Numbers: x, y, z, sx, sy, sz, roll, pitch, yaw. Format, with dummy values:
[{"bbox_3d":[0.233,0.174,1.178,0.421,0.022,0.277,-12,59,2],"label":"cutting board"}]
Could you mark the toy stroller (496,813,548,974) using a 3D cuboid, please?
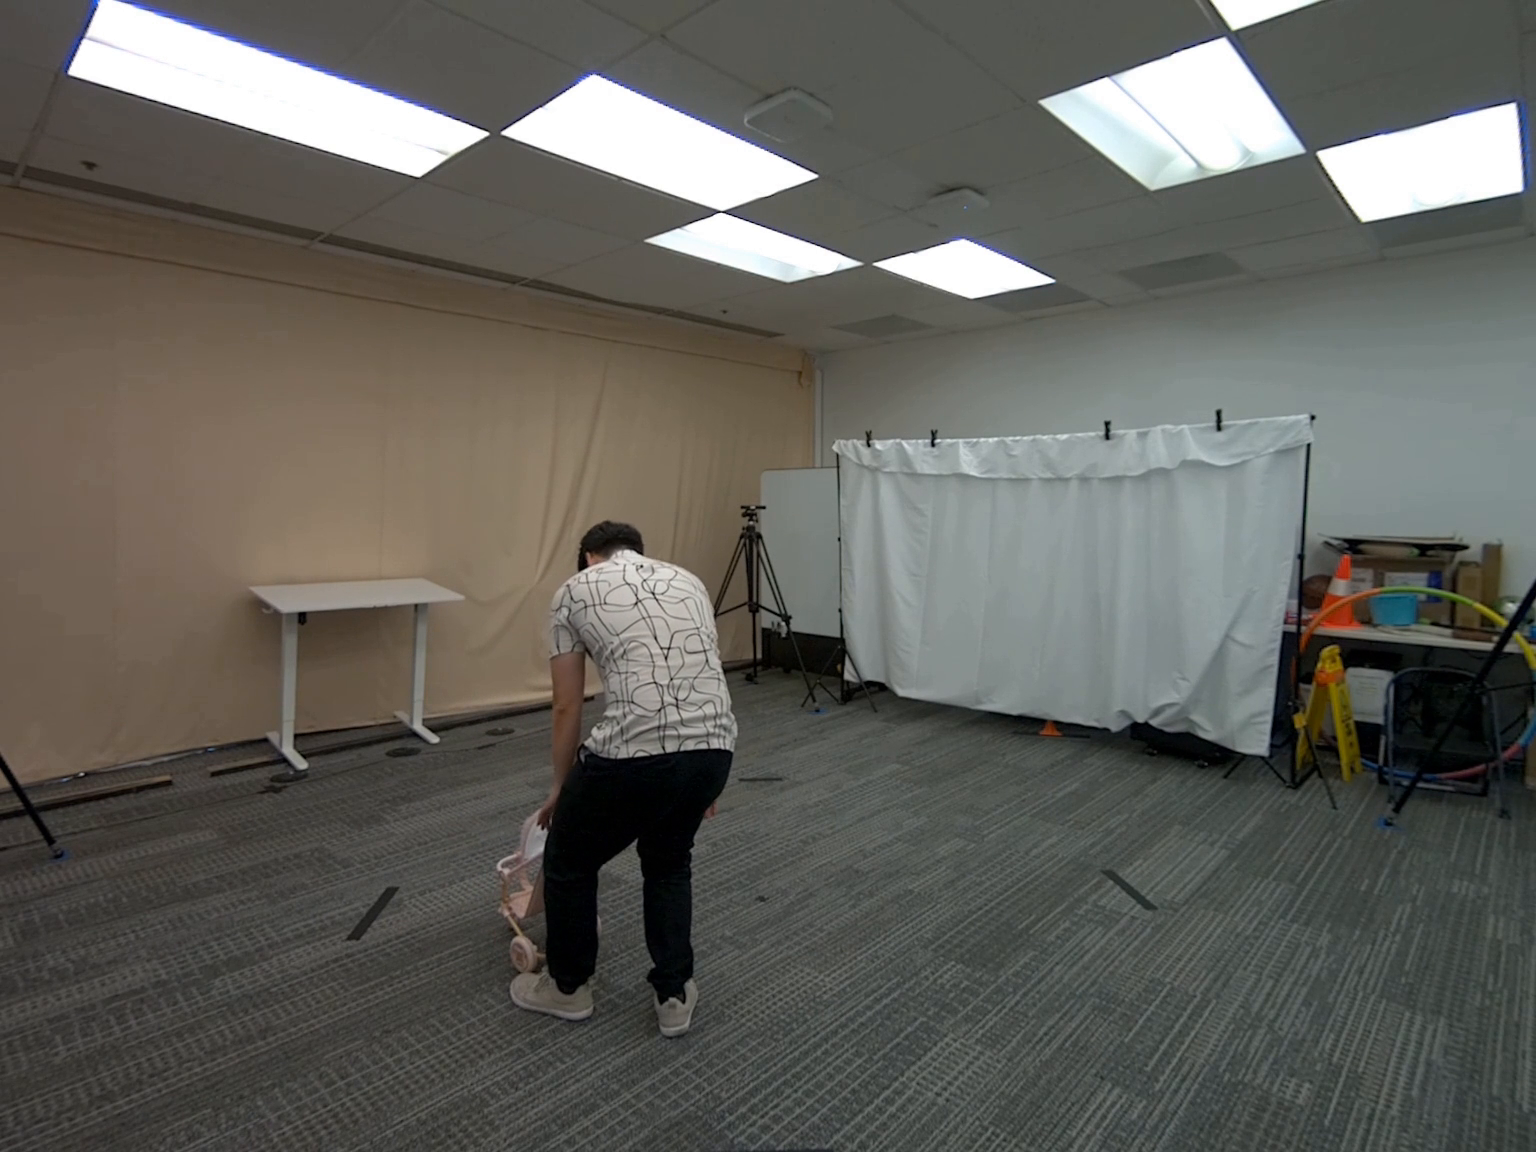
[{"bbox_3d":[-0.698,0.953,2.641,0.273,0.532,0.354,-2,20,-44],"label":"toy stroller"}]
